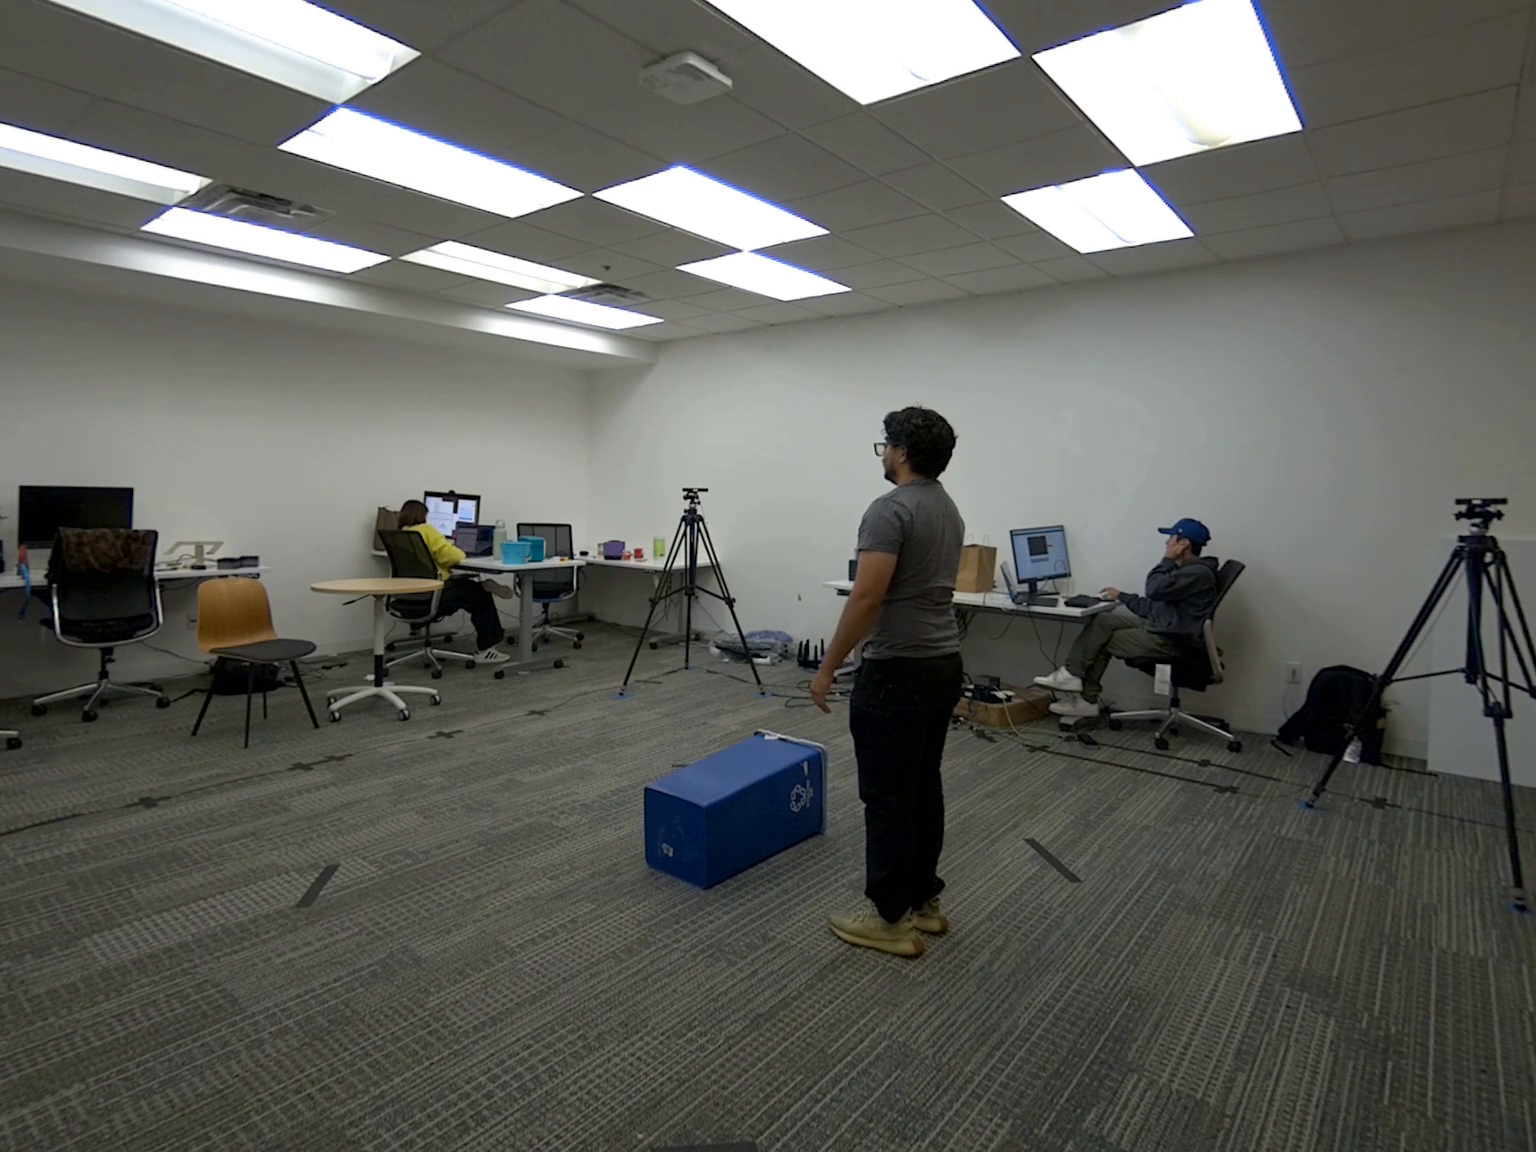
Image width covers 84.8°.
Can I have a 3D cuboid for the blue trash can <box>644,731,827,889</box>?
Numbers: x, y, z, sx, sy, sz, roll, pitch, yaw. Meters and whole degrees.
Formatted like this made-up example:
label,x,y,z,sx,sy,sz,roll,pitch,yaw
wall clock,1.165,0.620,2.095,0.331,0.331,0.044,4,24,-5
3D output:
label,x,y,z,sx,sy,sz,roll,pitch,yaw
blue trash can,-0.136,0.881,3.296,0.387,0.376,0.694,5,8,39
